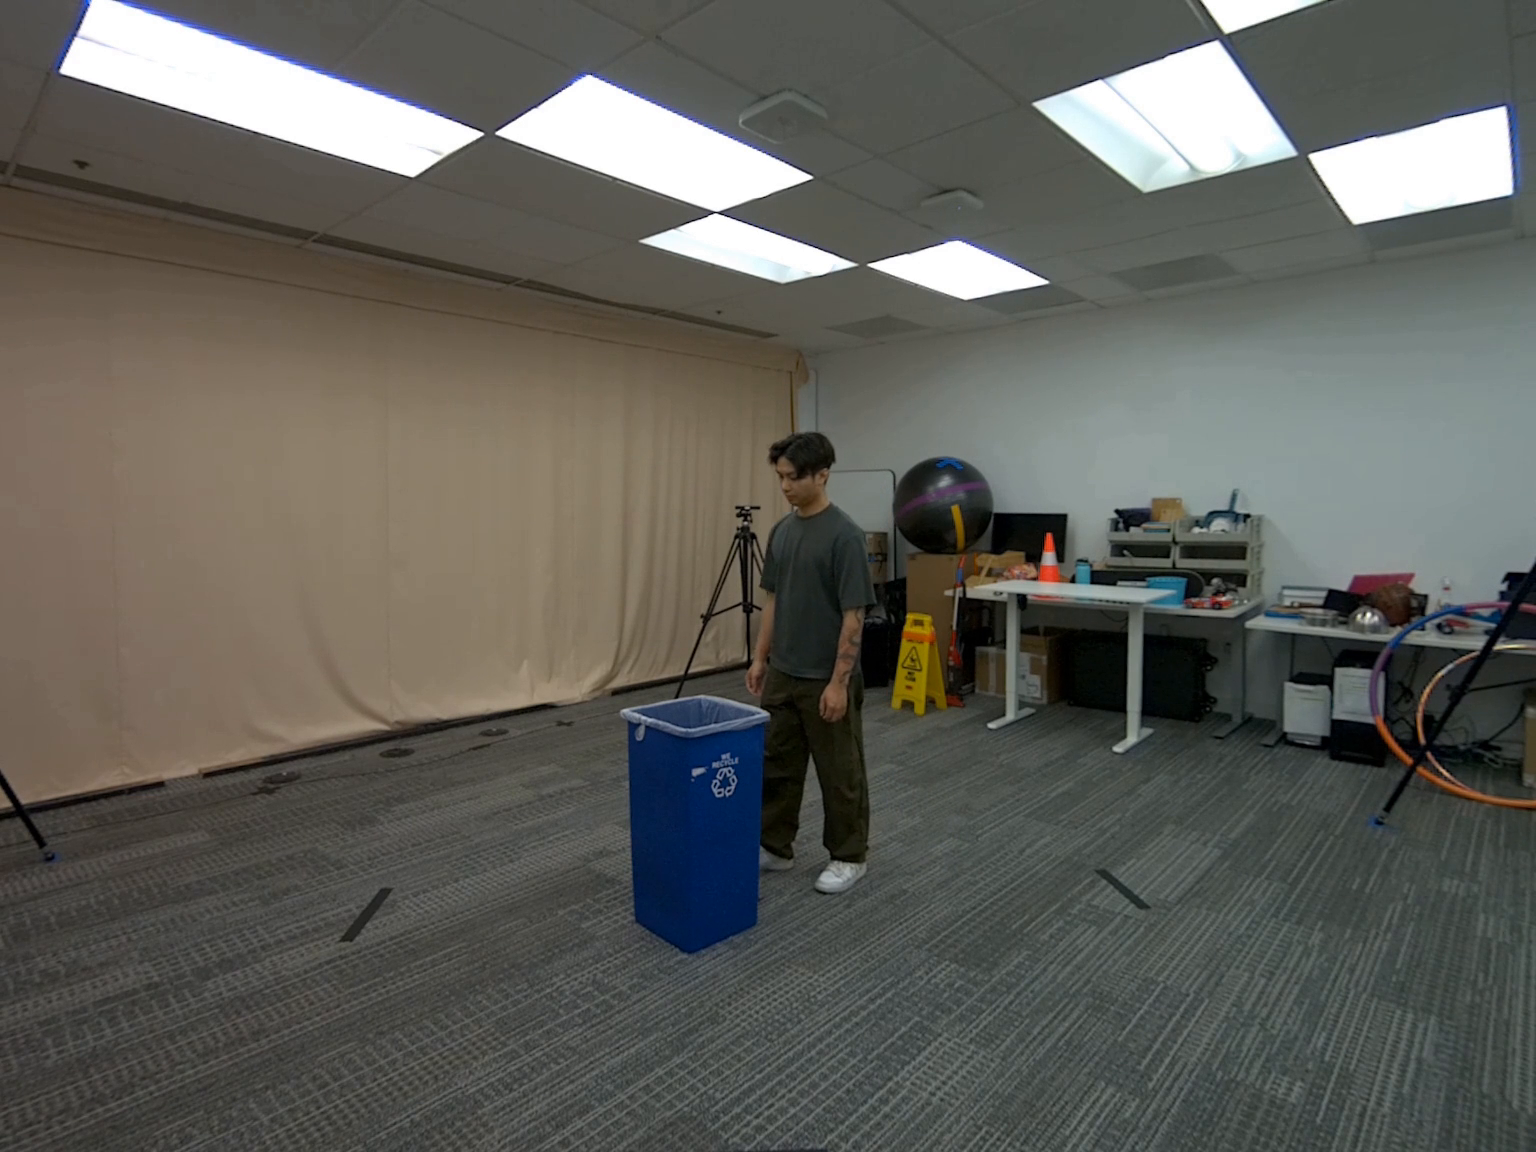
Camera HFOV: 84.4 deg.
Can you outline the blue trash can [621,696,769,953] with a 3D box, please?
[{"bbox_3d":[-0.236,0.806,2.796,0.366,0.712,0.386,-2,3,-44],"label":"blue trash can"}]
